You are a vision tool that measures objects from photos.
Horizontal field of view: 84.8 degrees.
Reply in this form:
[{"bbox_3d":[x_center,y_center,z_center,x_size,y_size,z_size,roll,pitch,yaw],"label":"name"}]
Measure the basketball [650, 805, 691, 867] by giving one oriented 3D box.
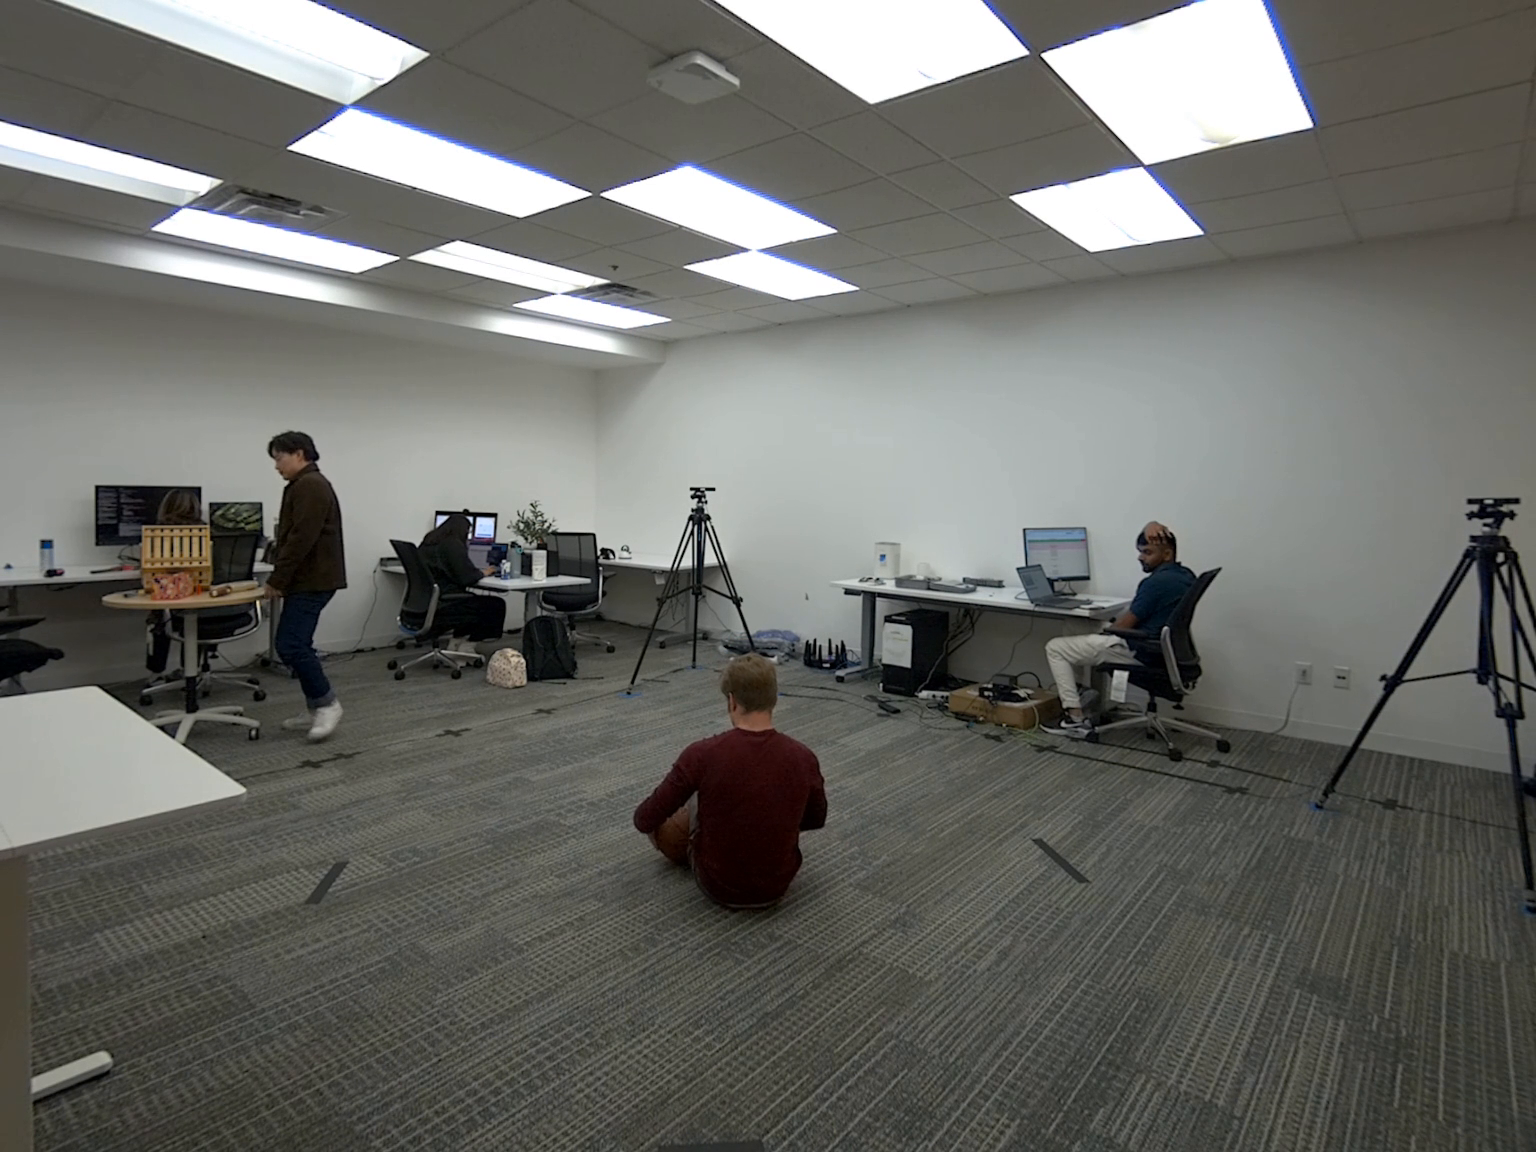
[{"bbox_3d":[-0.321,0.934,3.170,0.235,0.235,0.237,1,4,-2],"label":"basketball"}]
